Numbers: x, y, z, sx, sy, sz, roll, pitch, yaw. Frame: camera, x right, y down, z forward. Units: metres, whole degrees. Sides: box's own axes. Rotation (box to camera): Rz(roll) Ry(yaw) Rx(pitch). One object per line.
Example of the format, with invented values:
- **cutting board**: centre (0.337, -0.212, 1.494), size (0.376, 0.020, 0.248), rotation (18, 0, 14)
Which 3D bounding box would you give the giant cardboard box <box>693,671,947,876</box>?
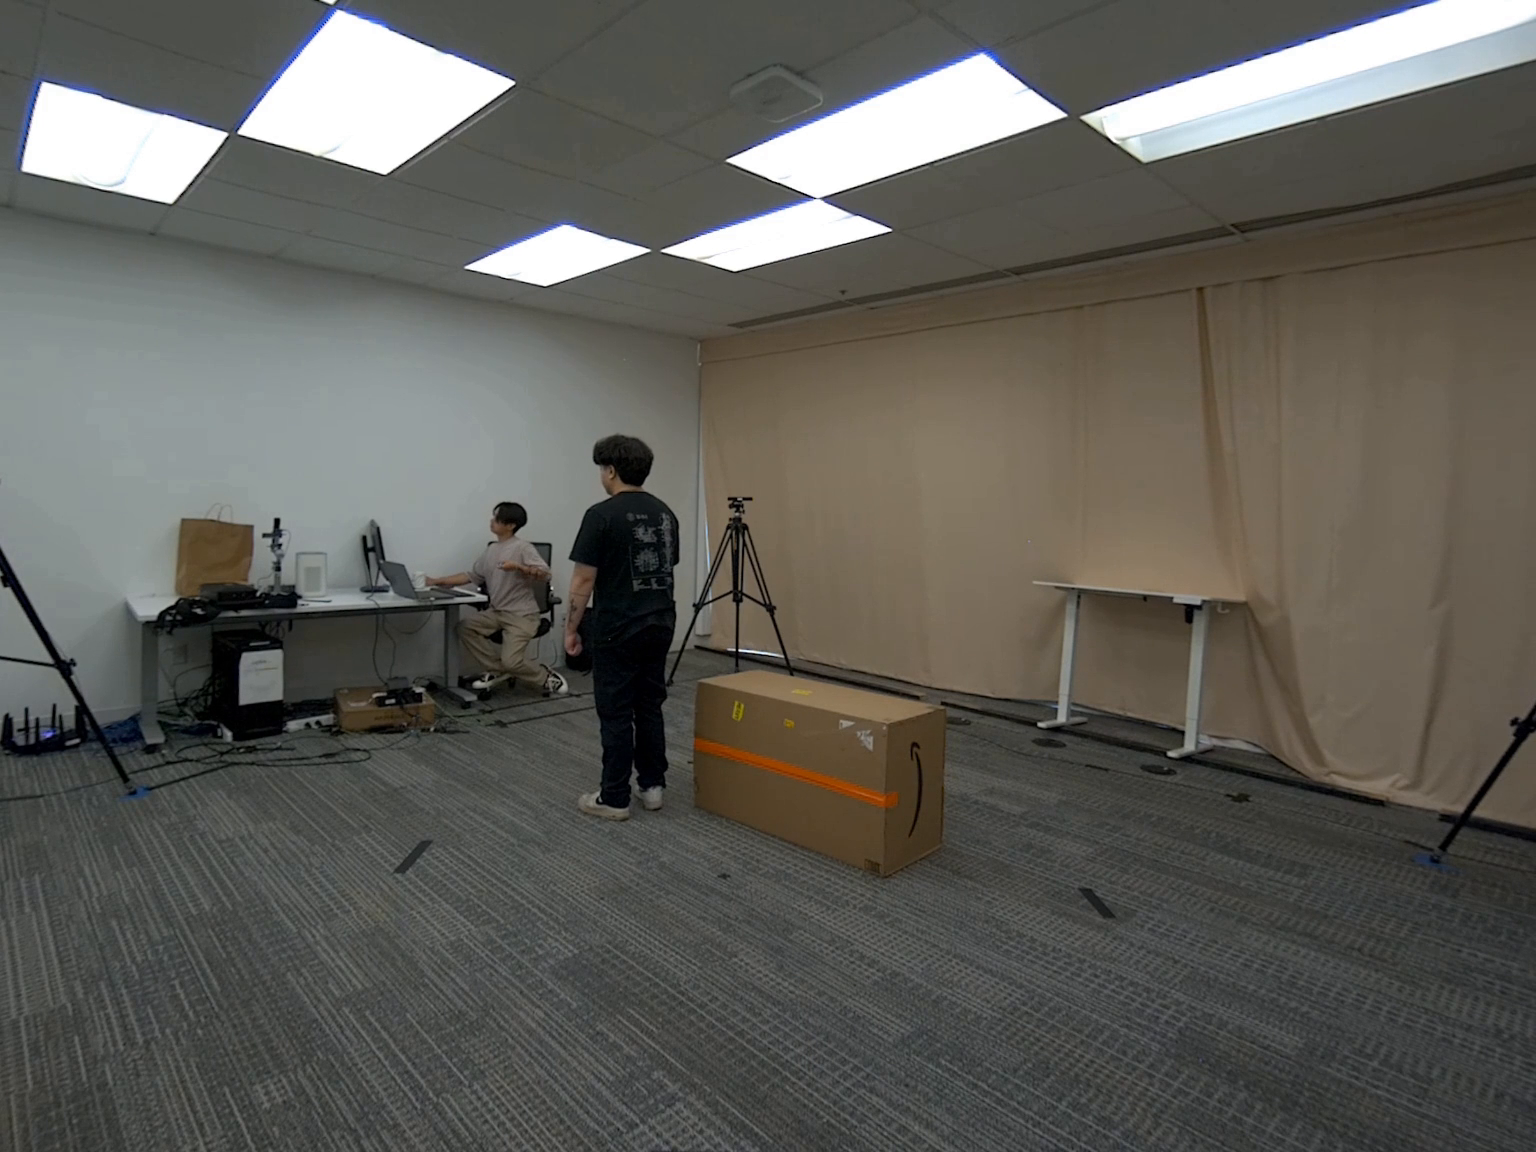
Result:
- **giant cardboard box**: centre (0.185, 0.785, 3.604), size (1.053, 0.582, 0.437), rotation (5, 5, 42)
